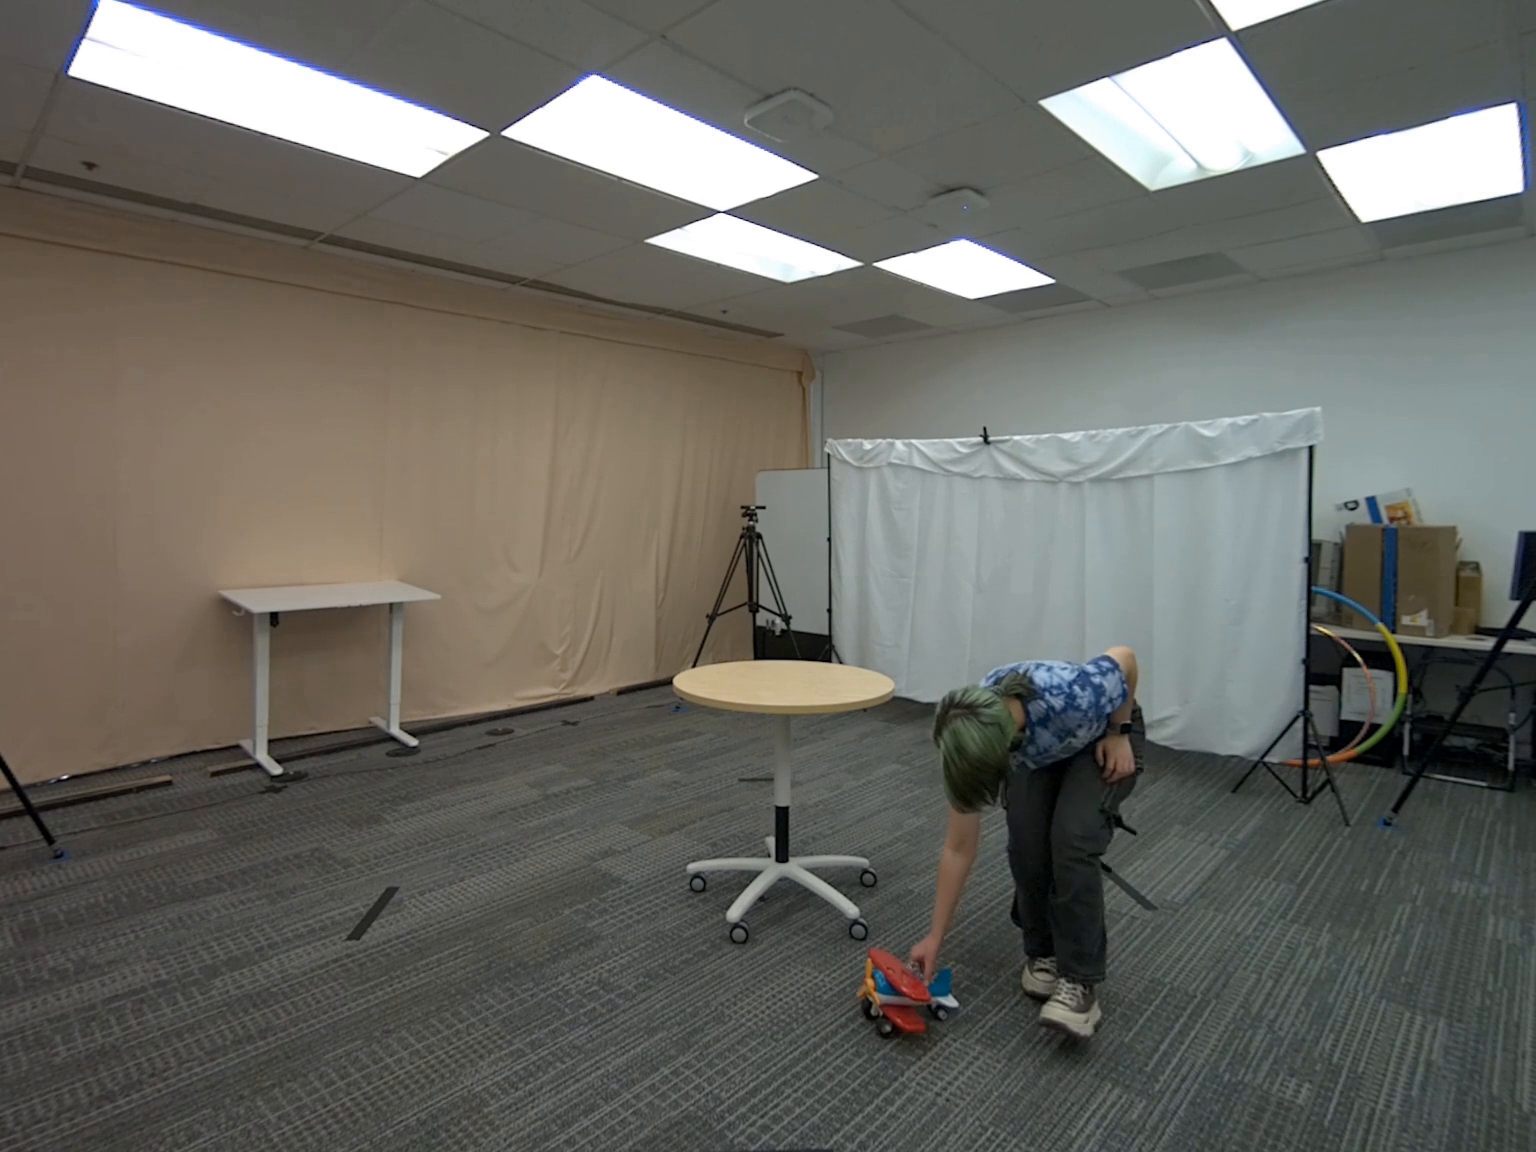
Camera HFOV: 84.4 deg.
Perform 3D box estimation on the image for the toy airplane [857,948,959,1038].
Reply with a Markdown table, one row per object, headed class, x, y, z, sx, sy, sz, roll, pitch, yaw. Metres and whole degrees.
| class | x | y | z | sx | sy | sz | roll | pitch | yaw |
| --- | --- | --- | --- | --- | --- | --- | --- | --- | --- |
| toy airplane | 0.379 | 1.132 | 2.283 | 0.251 | 0.156 | 0.259 | -6 | 7 | -44 |
